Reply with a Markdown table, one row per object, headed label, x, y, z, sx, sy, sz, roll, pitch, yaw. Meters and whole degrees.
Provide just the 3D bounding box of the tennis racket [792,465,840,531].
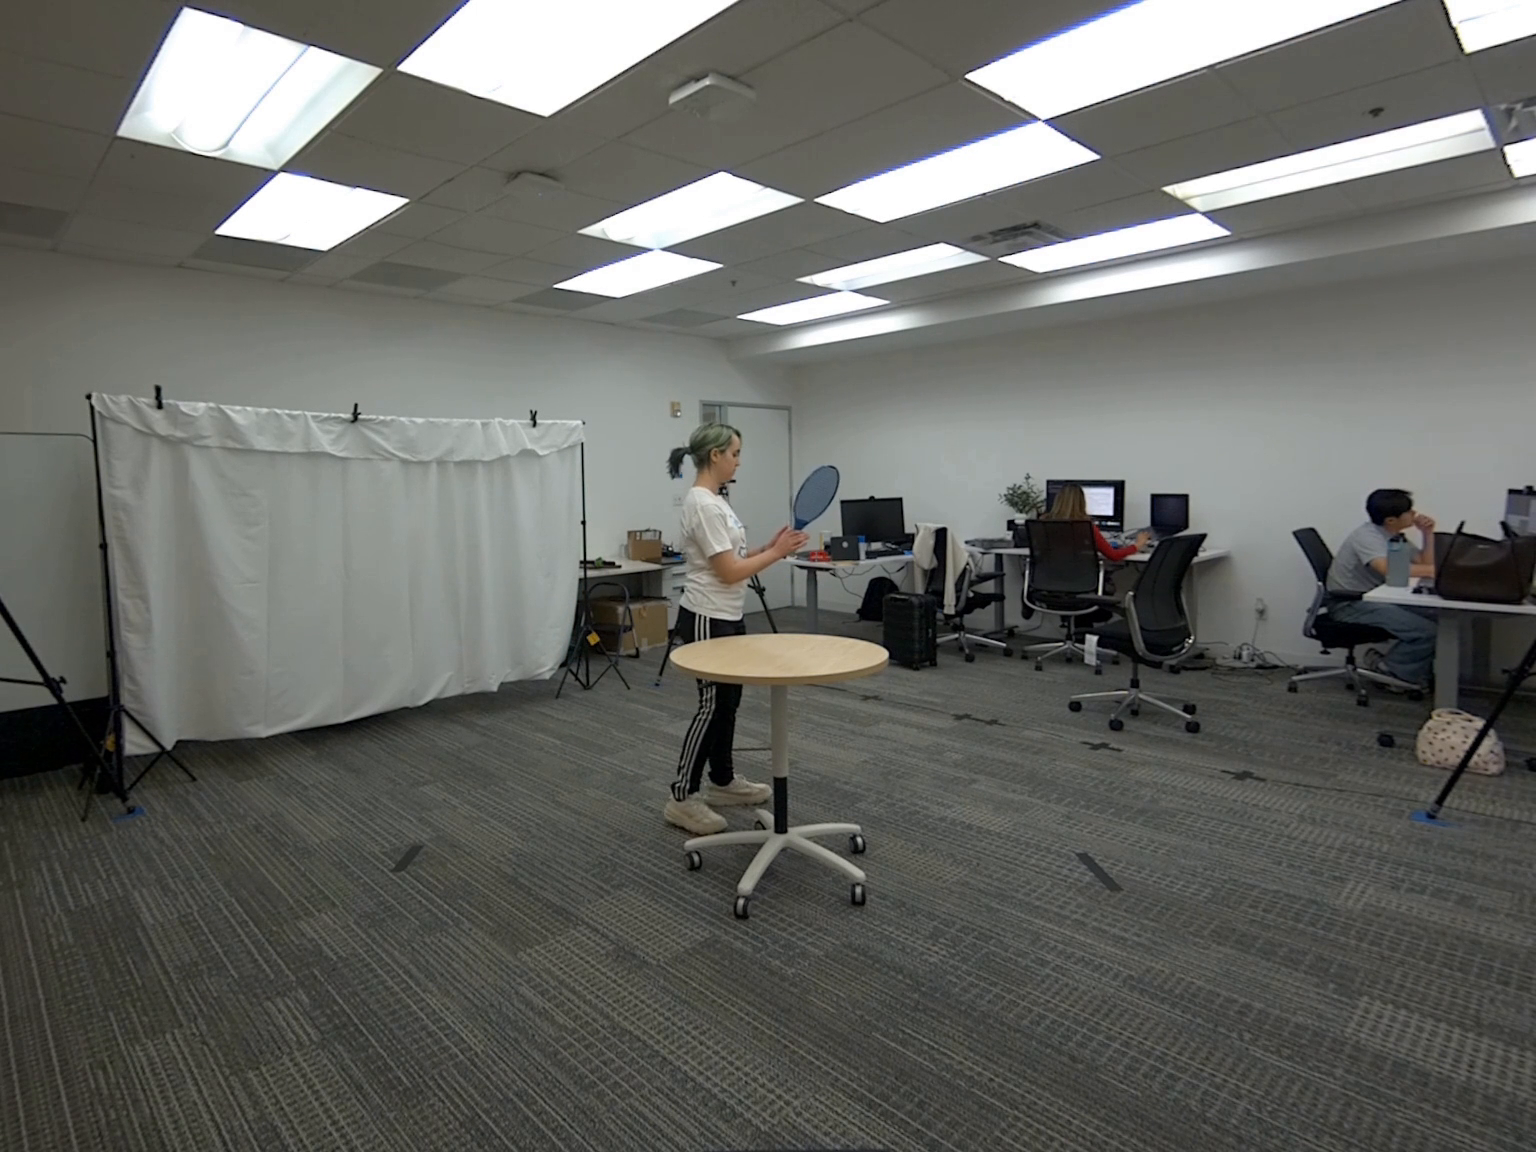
| label | x | y | z | sx | sy | sz | roll | pitch | yaw |
| --- | --- | --- | --- | --- | --- | --- | --- | --- | --- |
| tennis racket | 0.150 | -0.261 | 3.473 | 0.206 | 0.432 | 0.033 | 22 | 15 | -49 |
